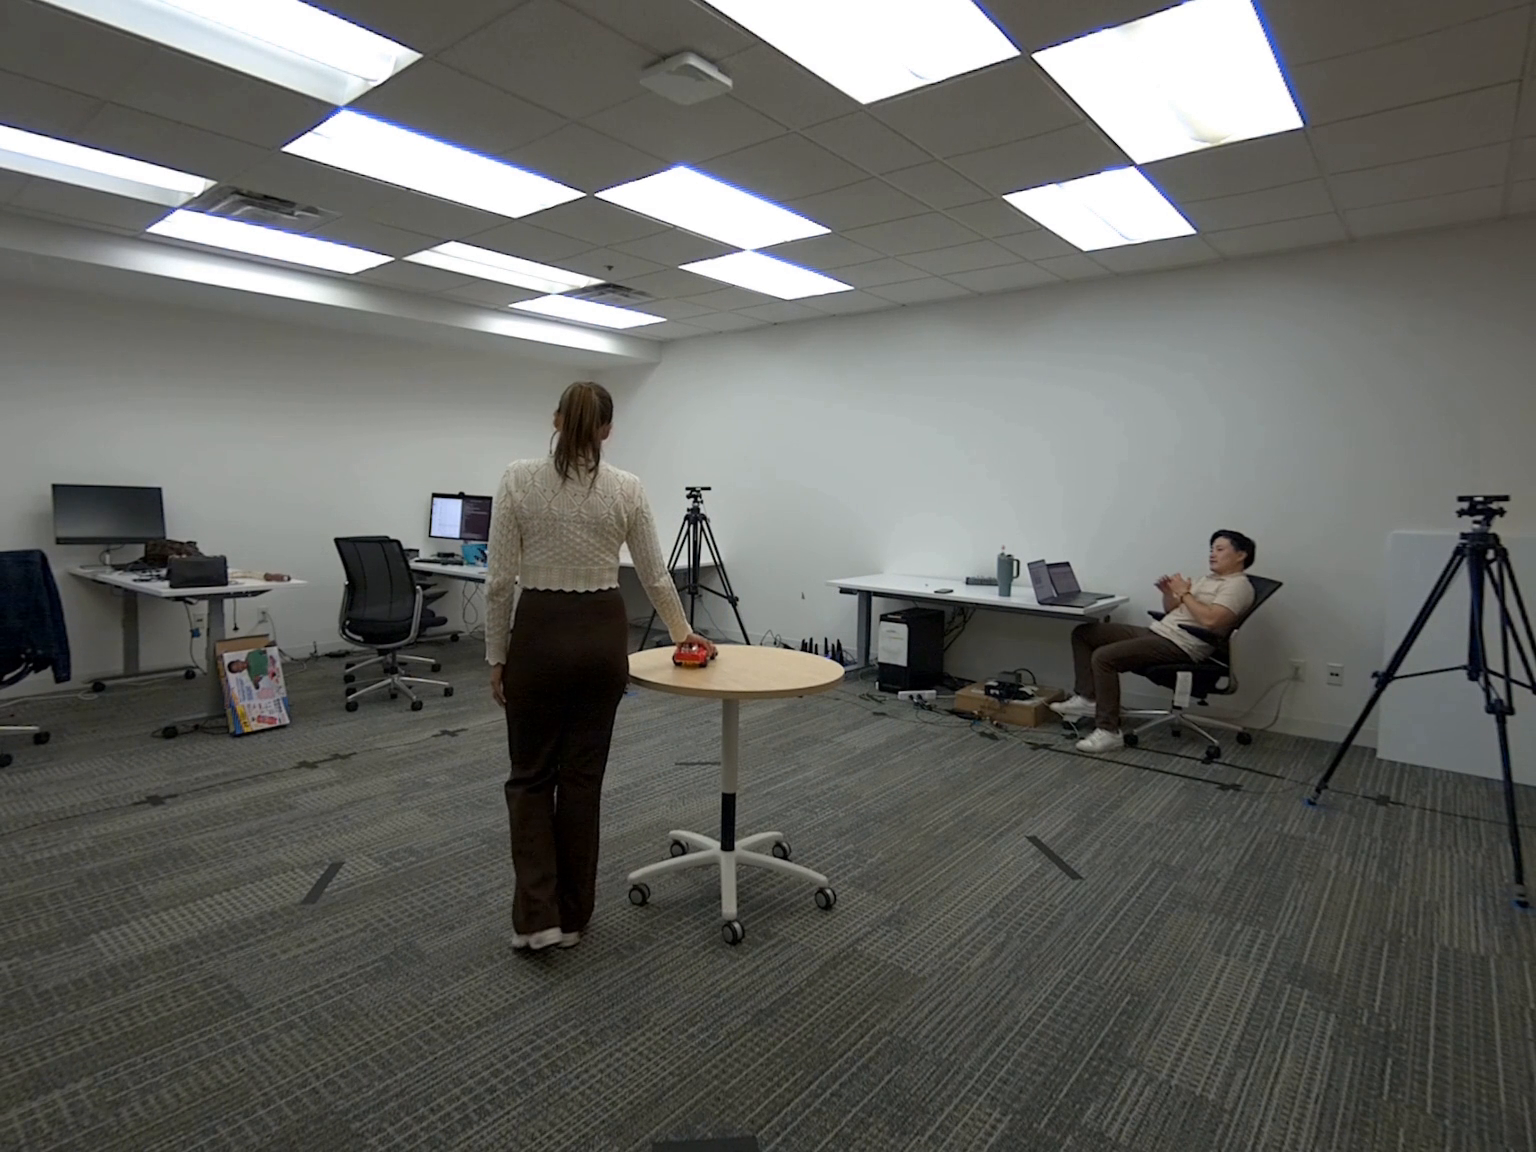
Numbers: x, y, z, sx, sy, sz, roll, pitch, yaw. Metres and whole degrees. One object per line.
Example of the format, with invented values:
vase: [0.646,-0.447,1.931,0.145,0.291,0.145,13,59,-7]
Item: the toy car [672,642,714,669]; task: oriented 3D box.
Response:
toy car: [-0.263,0.266,2.917,0.131,0.084,0.251,3,-5,7]
